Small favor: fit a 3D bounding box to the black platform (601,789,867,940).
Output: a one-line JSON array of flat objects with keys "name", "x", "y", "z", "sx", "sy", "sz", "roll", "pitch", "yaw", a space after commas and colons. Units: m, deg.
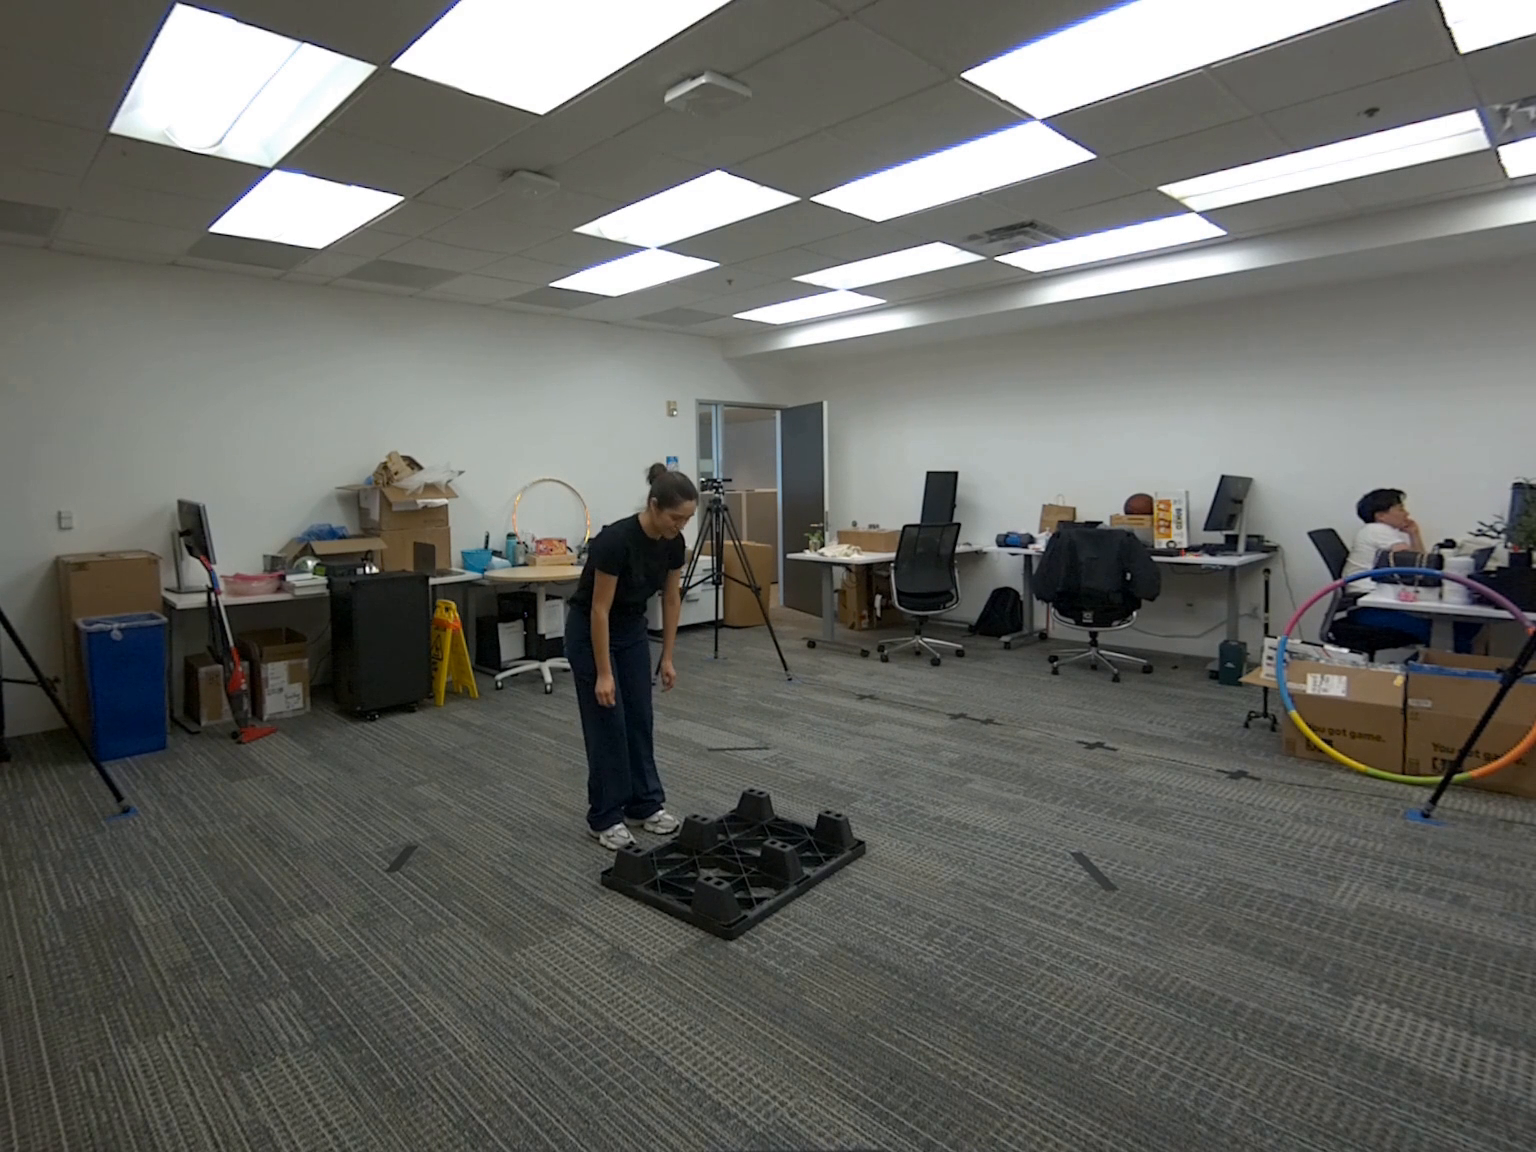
[{"name": "black platform", "x": -0.110, "y": 0.981, "z": 3.086, "sx": 0.623, "sy": 0.142, "sz": 0.785, "roll": 5, "pitch": 8, "yaw": 39}]
